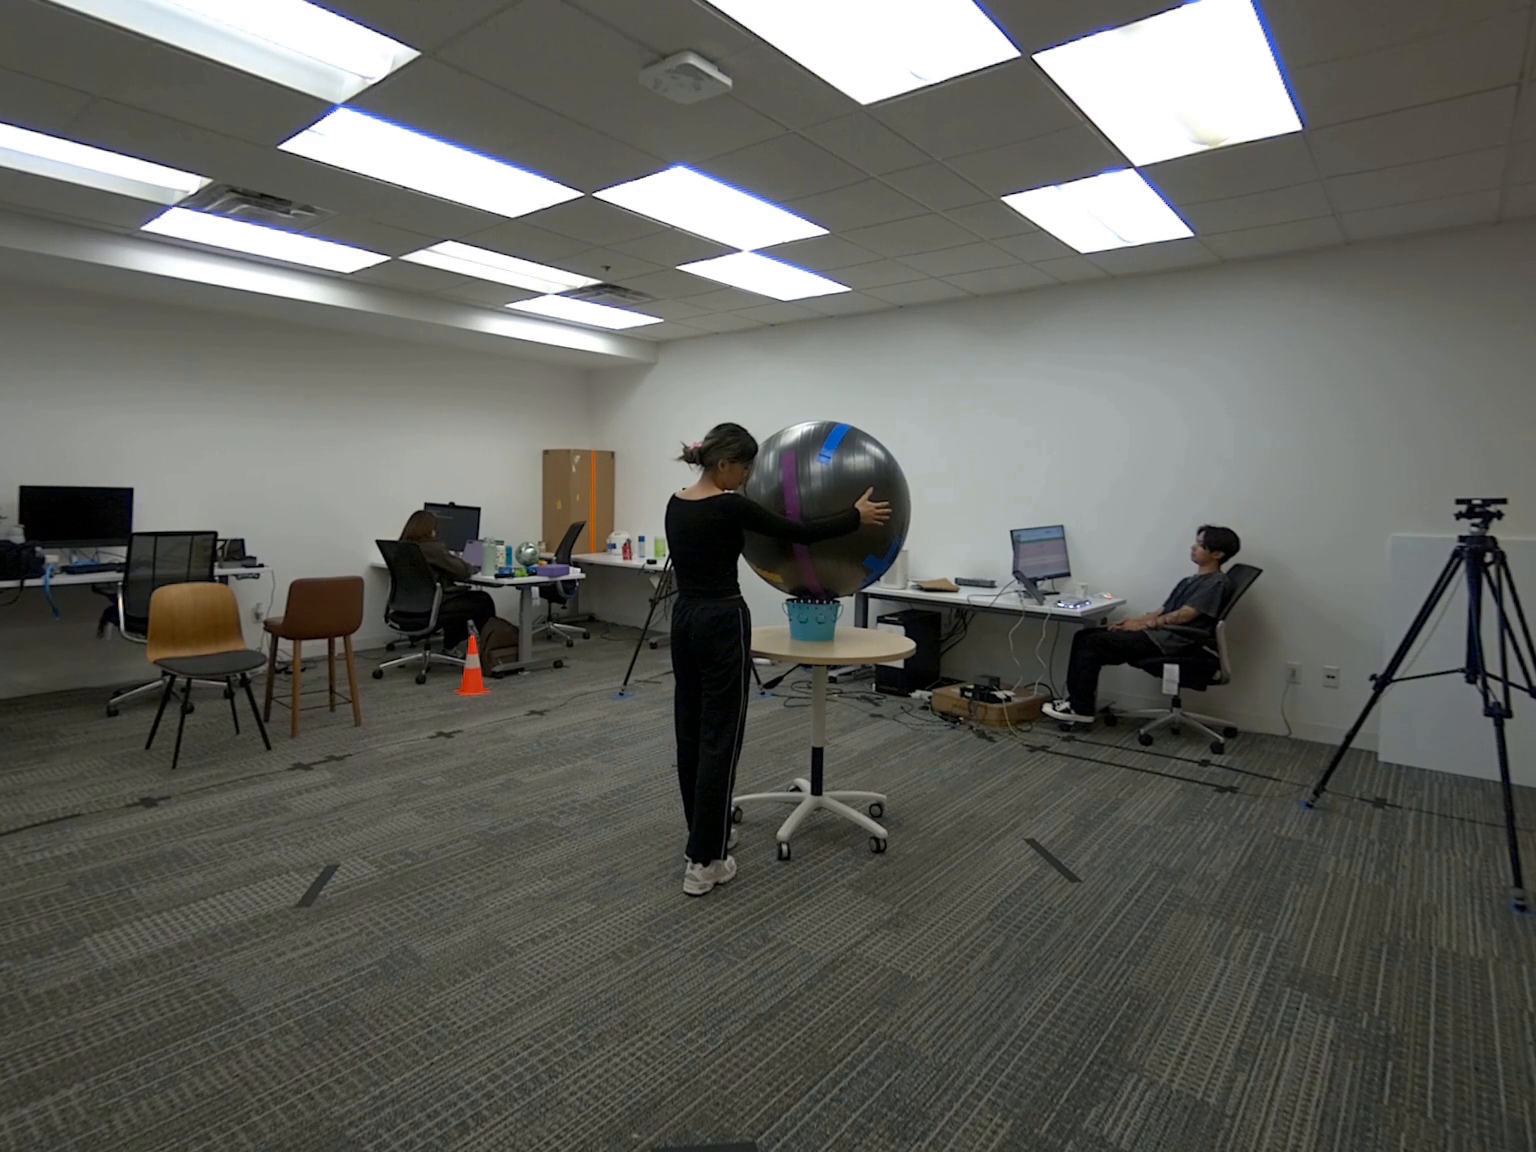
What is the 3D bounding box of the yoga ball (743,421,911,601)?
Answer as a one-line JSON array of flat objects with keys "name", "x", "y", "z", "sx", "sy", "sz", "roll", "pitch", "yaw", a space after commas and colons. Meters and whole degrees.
[{"name": "yoga ball", "x": 0.221, "y": -0.276, "z": 3.610, "sx": 0.757, "sy": 0.756, "sz": 0.762, "roll": 1, "pitch": 4, "yaw": -2}]
